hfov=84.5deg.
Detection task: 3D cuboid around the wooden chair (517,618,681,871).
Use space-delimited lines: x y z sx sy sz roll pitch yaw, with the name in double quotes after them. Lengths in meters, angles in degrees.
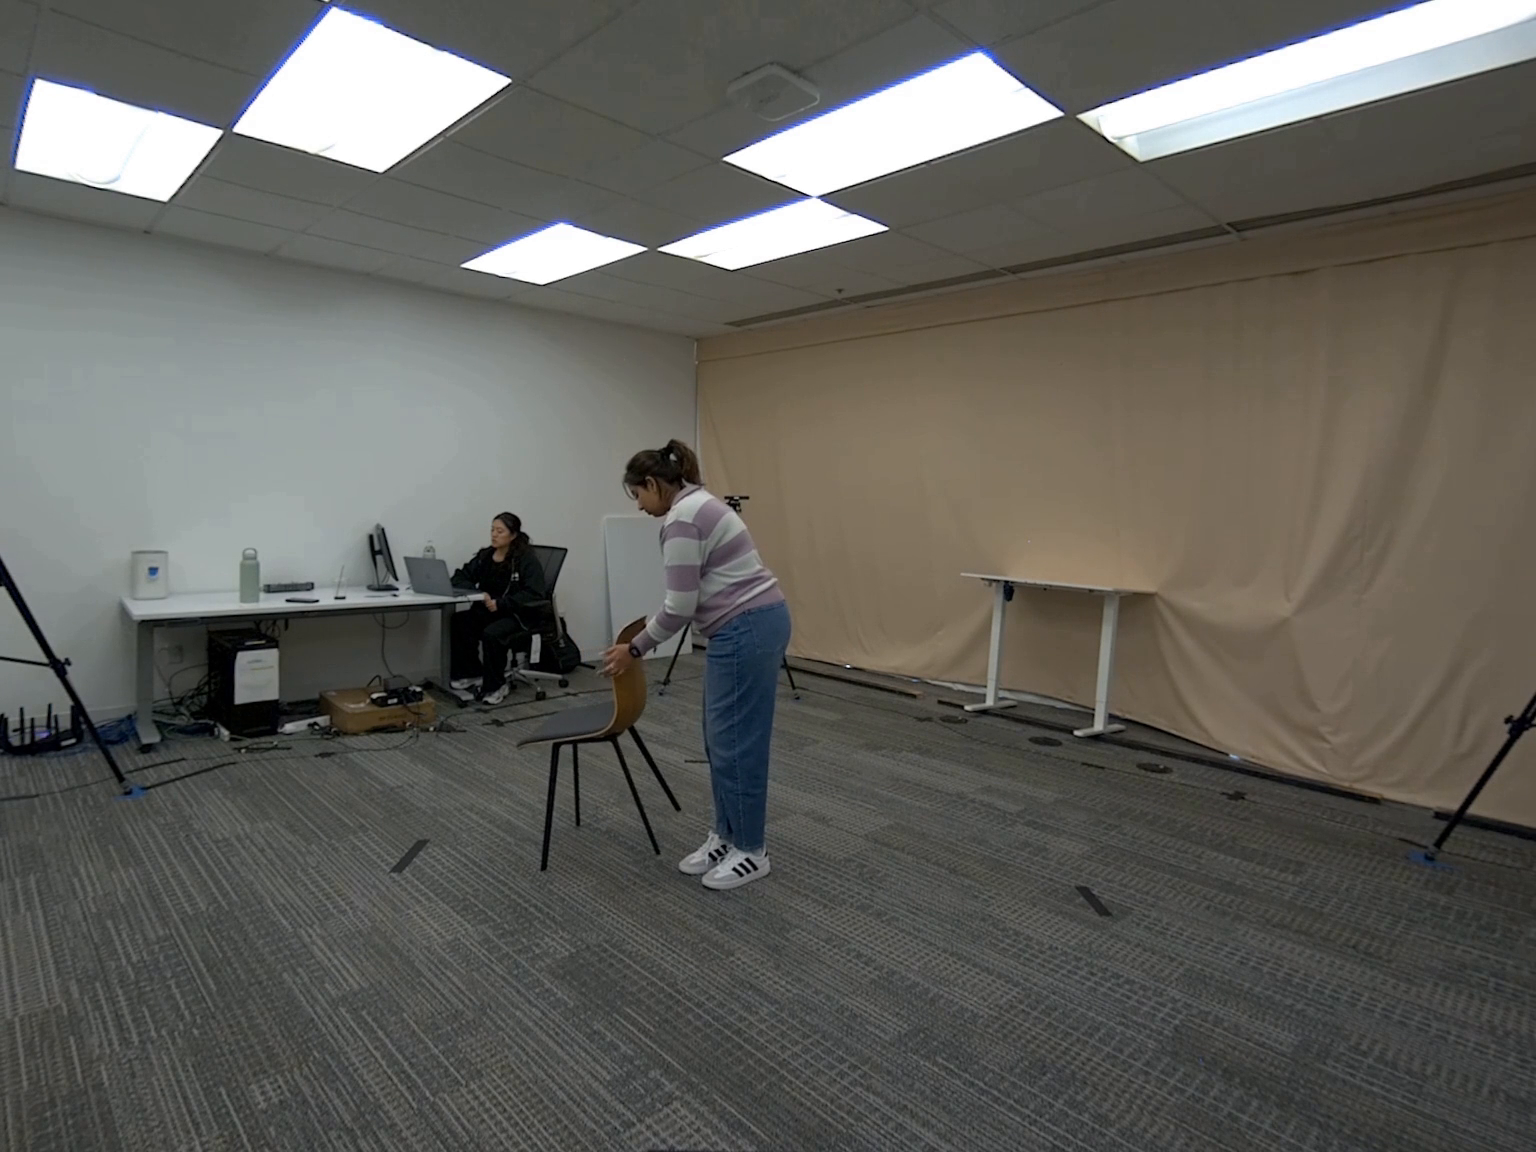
-0.685 0.612 3.269 0.525 0.875 0.477 -6 3 5 "wooden chair"
